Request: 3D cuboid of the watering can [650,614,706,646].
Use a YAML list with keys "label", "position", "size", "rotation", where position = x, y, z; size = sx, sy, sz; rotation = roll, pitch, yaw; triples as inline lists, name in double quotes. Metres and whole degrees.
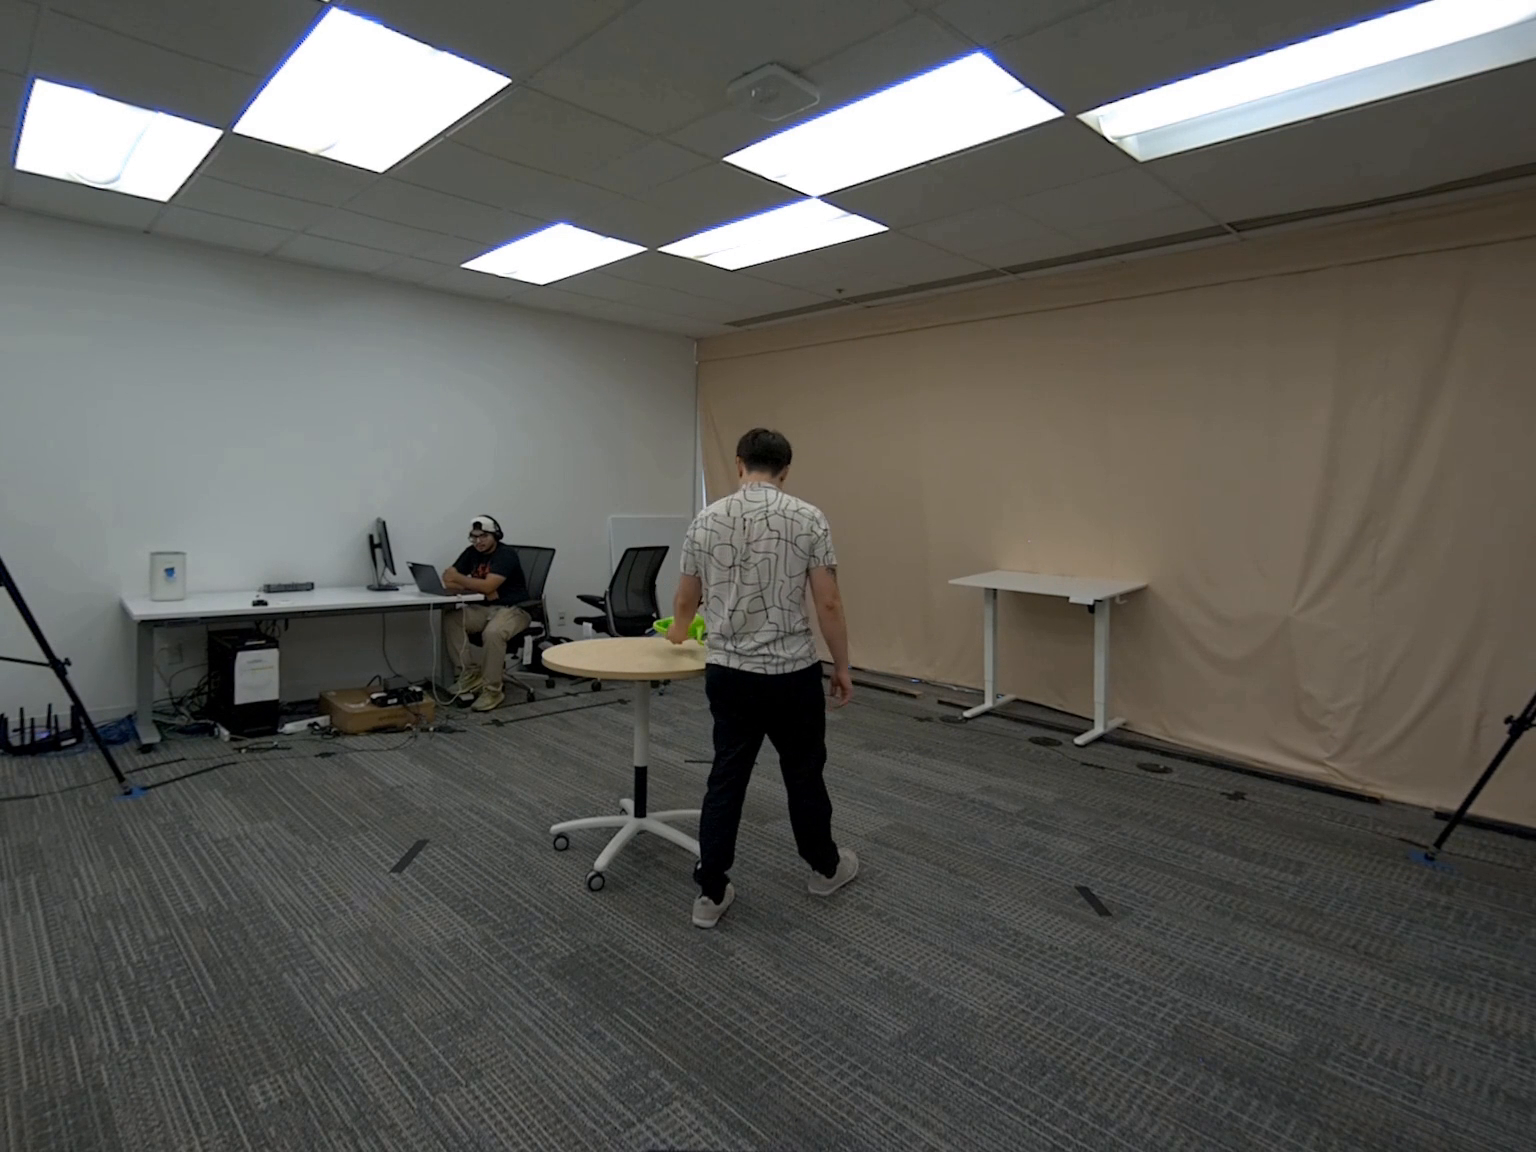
- label: "watering can"
  position: [-0.320, 0.225, 3.274]
  size: [0.285, 0.097, 0.174]
  rotation: [29, 24, 27]
